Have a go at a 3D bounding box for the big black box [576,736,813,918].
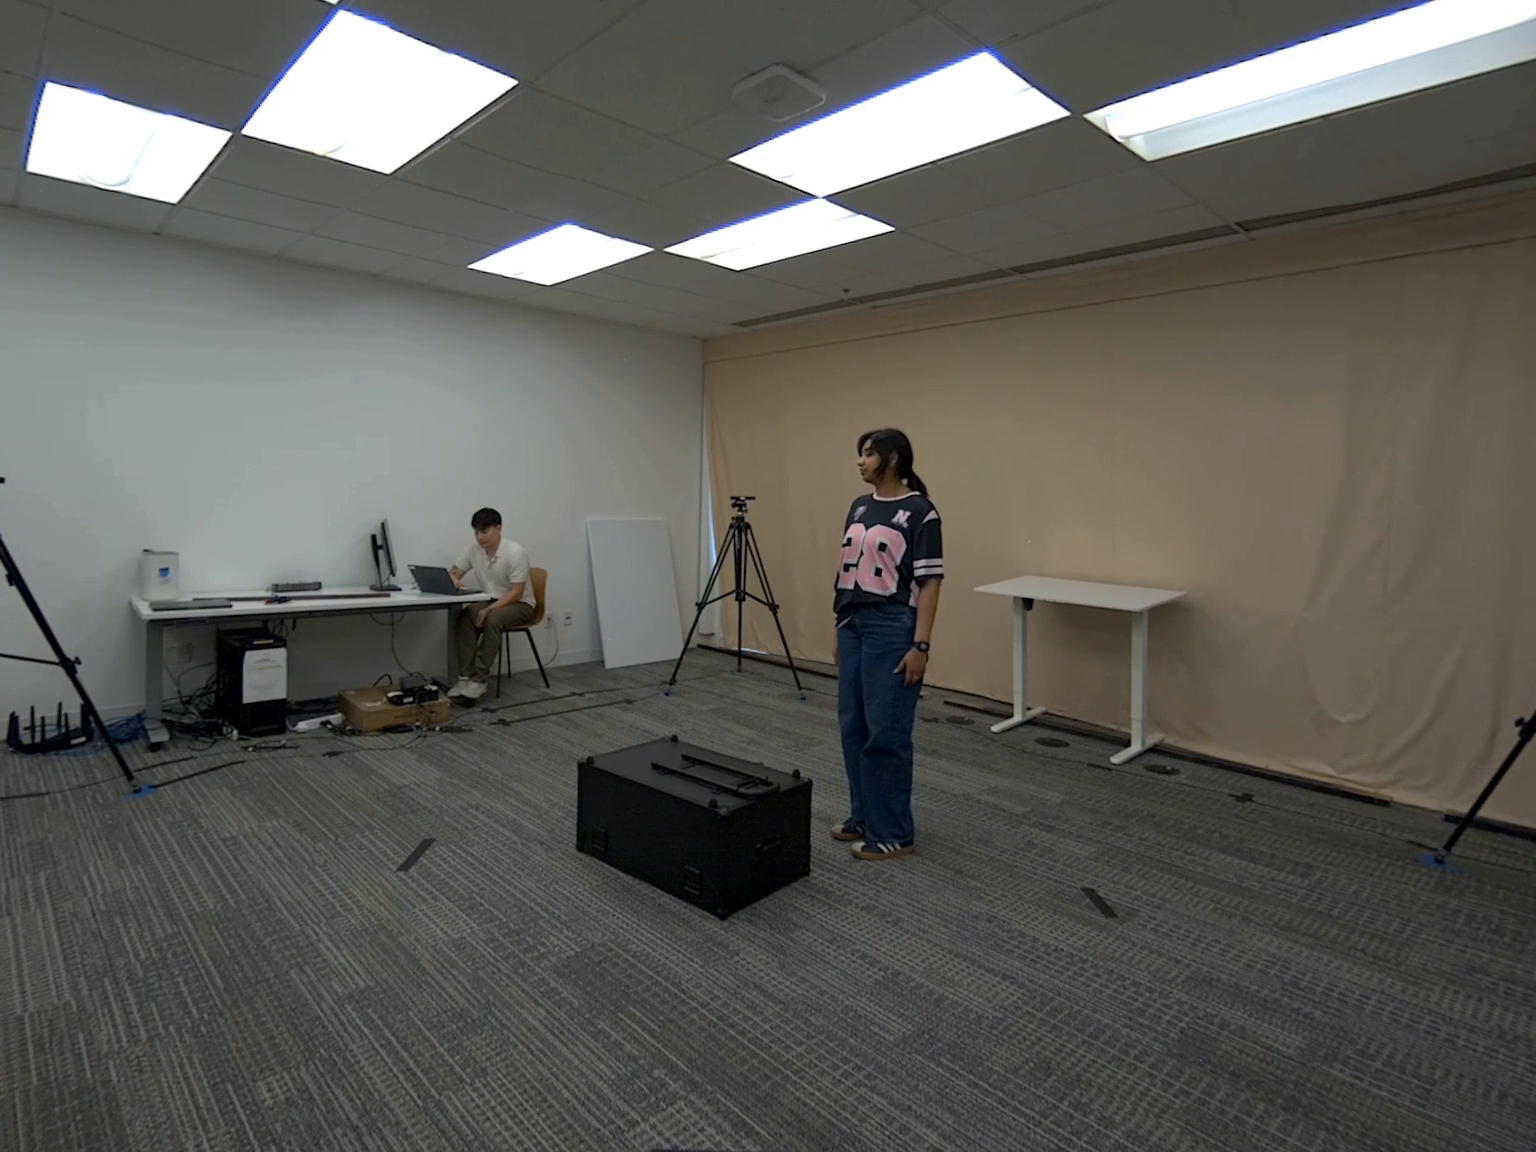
[{"bbox_3d":[-0.329,0.906,3.211,0.890,0.384,0.512,5,7,40],"label":"big black box"}]
